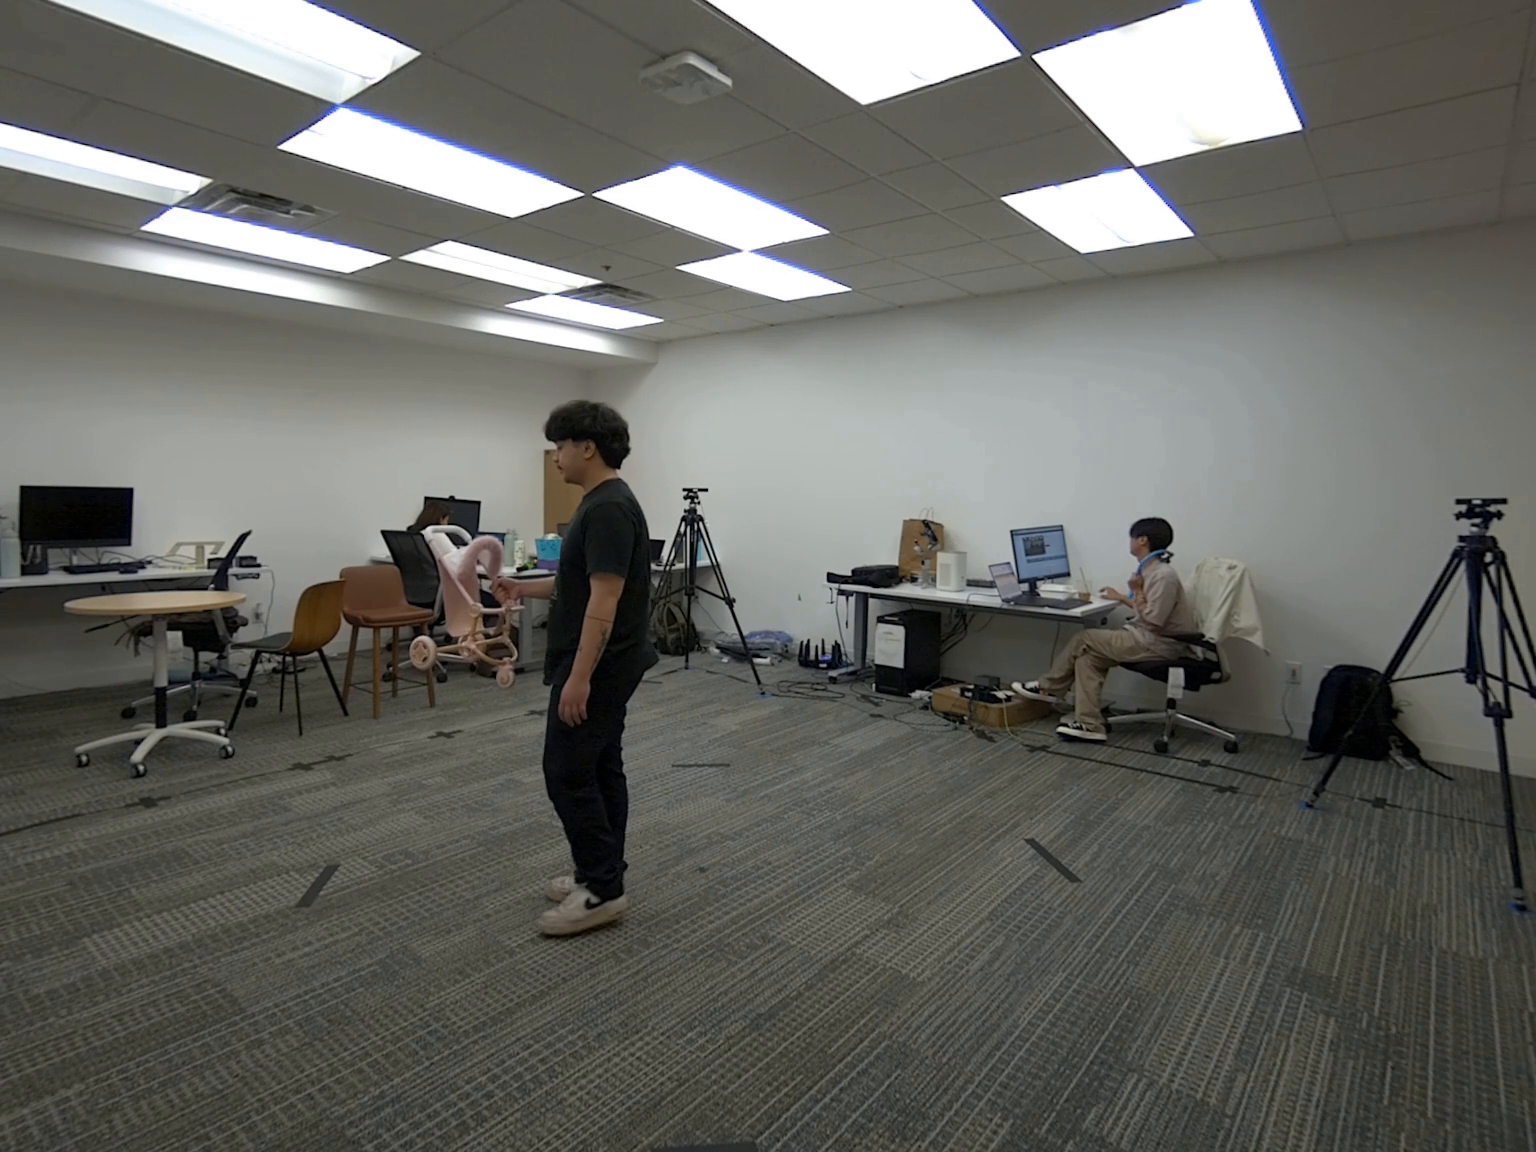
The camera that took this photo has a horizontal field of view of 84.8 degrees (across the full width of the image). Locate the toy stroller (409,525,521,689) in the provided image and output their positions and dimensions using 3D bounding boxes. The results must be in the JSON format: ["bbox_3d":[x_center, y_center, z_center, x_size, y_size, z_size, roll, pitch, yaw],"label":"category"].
[{"bbox_3d":[-1.005,0.101,2.875,0.350,0.535,0.274,1,0,26],"label":"toy stroller"}]
